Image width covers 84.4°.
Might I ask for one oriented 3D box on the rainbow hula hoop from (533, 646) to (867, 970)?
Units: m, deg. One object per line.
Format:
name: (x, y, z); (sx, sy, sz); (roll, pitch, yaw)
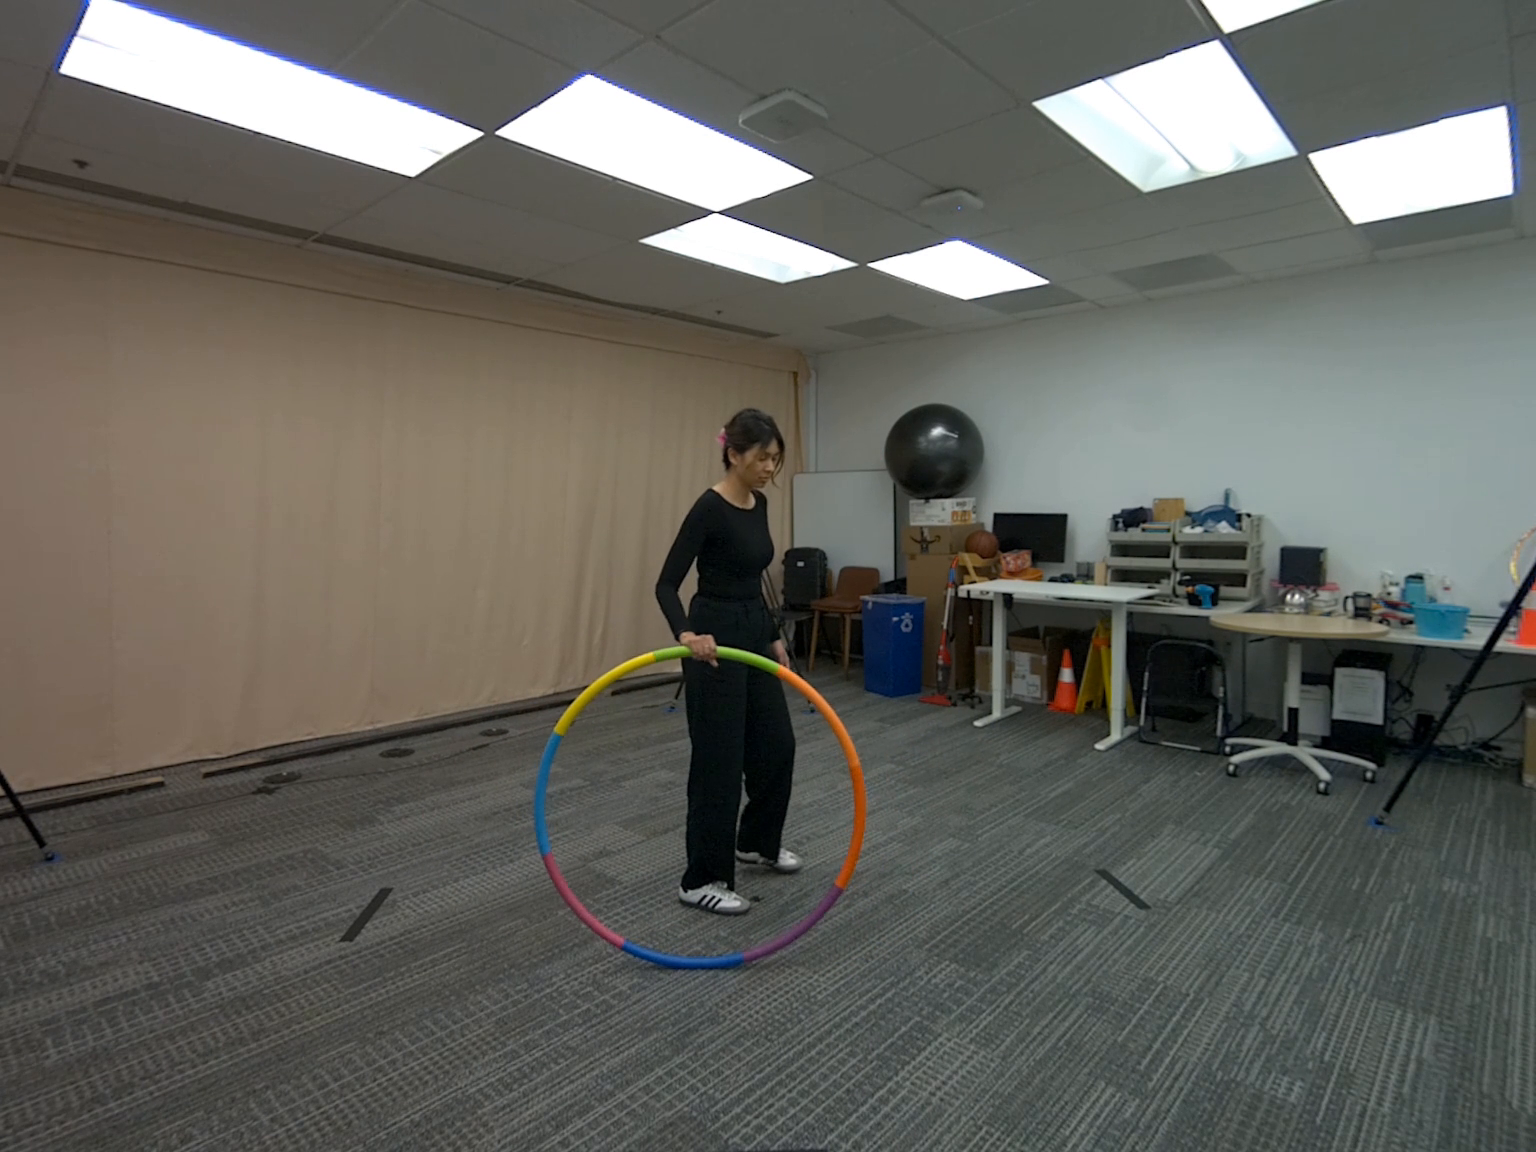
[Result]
rainbow hula hoop: (-0.181, 0.697, 2.524); (0.979, 0.977, 0.035); (0, 2, 0)
